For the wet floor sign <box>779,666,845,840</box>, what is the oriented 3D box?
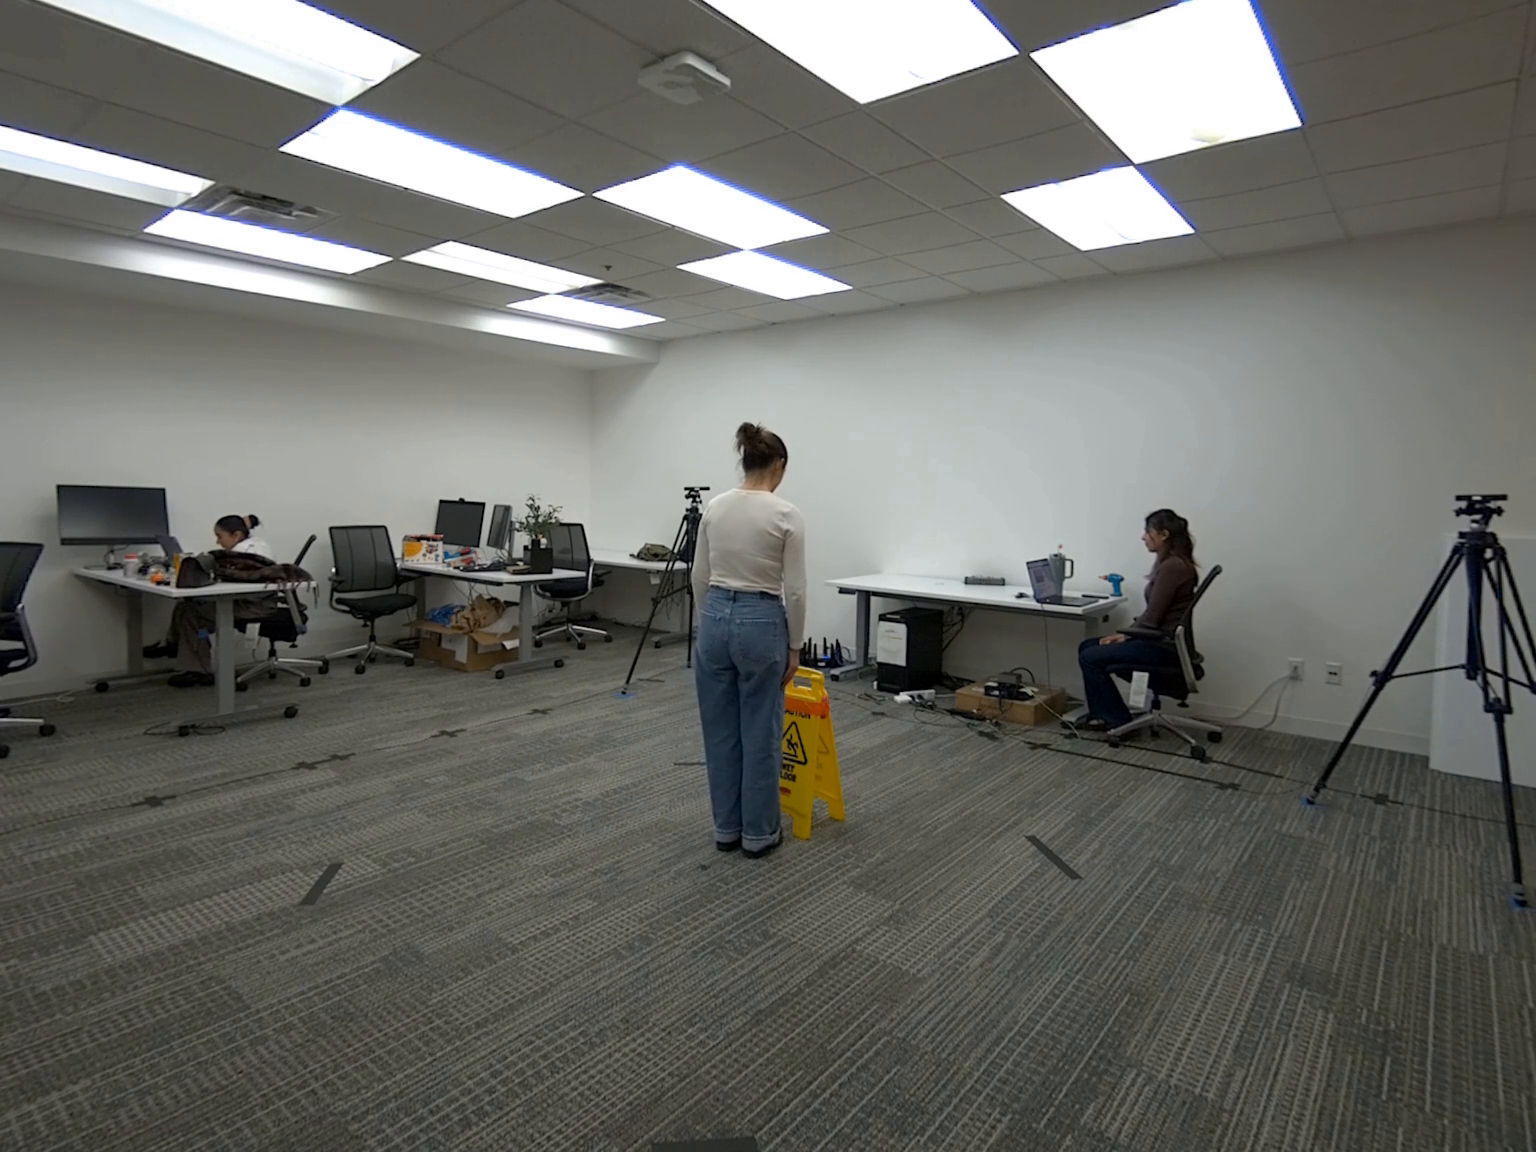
[{"bbox_3d":[0.133,0.702,3.558,0.292,0.644,0.281,4,4,39],"label":"wet floor sign"}]
